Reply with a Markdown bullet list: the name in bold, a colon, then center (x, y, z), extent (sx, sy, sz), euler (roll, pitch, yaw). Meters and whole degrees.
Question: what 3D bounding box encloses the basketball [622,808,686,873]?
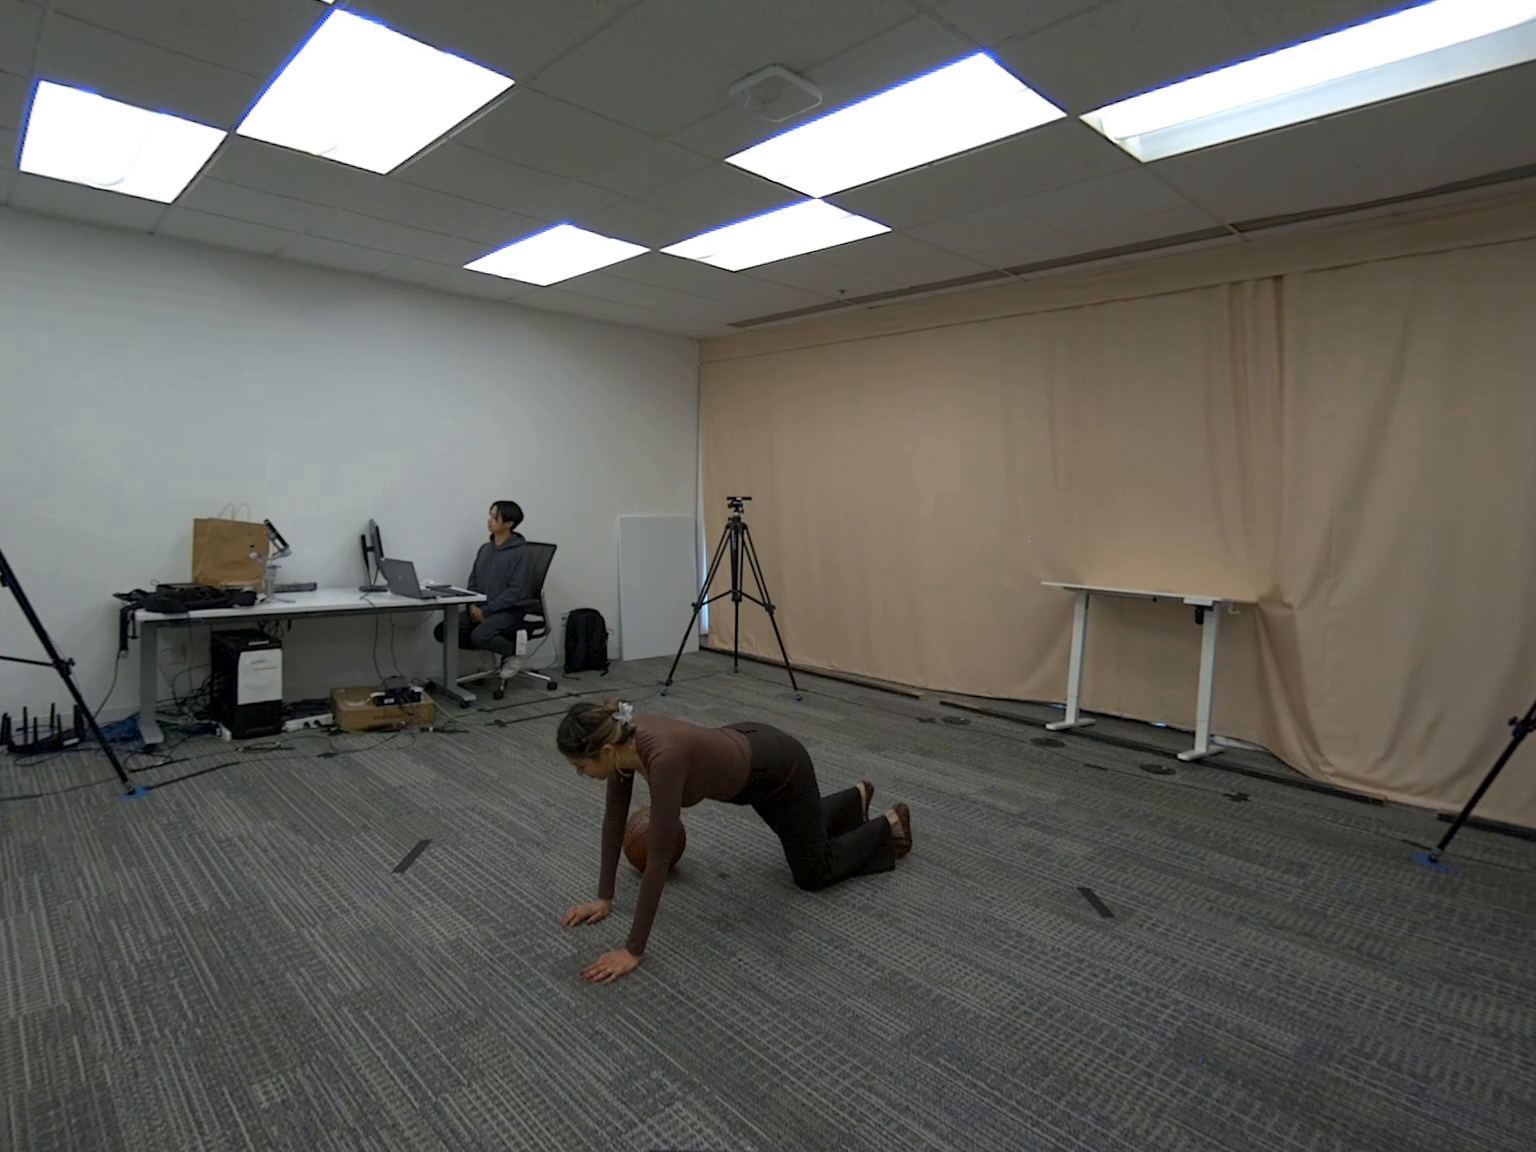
- **basketball**: center (-0.425, 0.970, 3.125), extent (0.236, 0.235, 0.237), euler (1, 4, -1)
